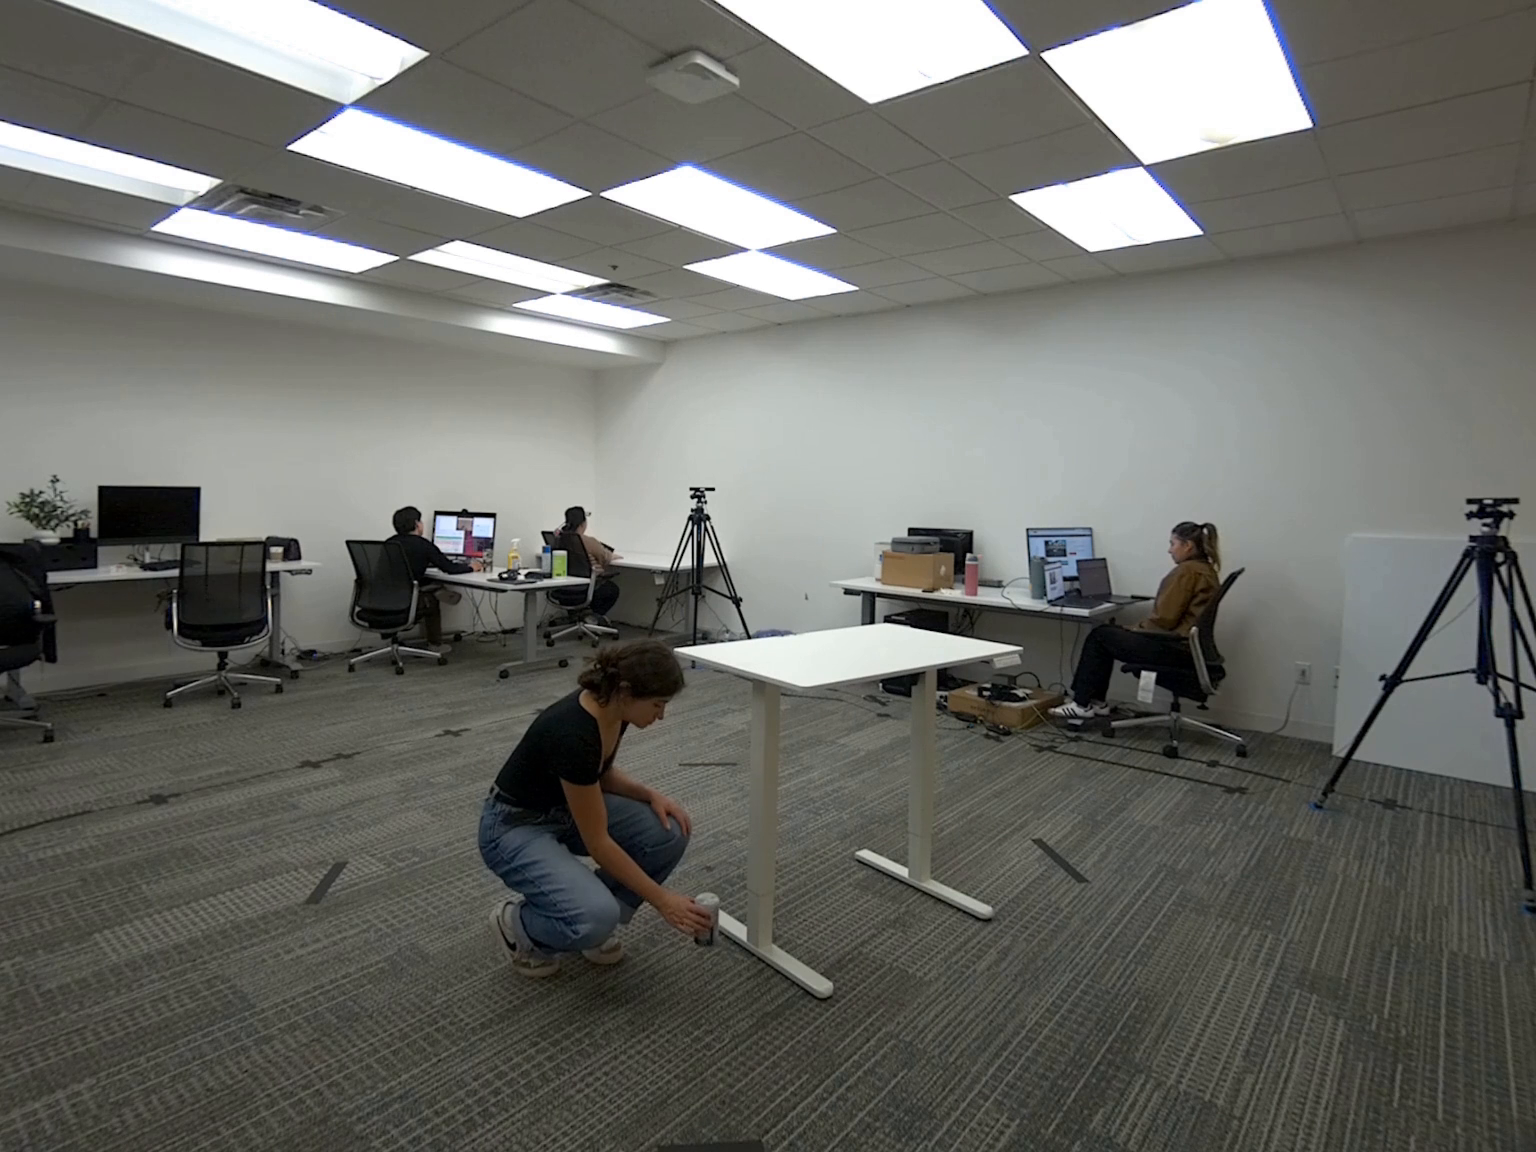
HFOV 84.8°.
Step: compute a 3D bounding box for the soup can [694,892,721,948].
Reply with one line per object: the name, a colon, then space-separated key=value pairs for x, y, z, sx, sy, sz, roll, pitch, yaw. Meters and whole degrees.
soup can: x=-0.178 y=0.927 z=2.289 sx=0.067 sy=0.120 sz=0.068 roll=1 pitch=10 yaw=-2
